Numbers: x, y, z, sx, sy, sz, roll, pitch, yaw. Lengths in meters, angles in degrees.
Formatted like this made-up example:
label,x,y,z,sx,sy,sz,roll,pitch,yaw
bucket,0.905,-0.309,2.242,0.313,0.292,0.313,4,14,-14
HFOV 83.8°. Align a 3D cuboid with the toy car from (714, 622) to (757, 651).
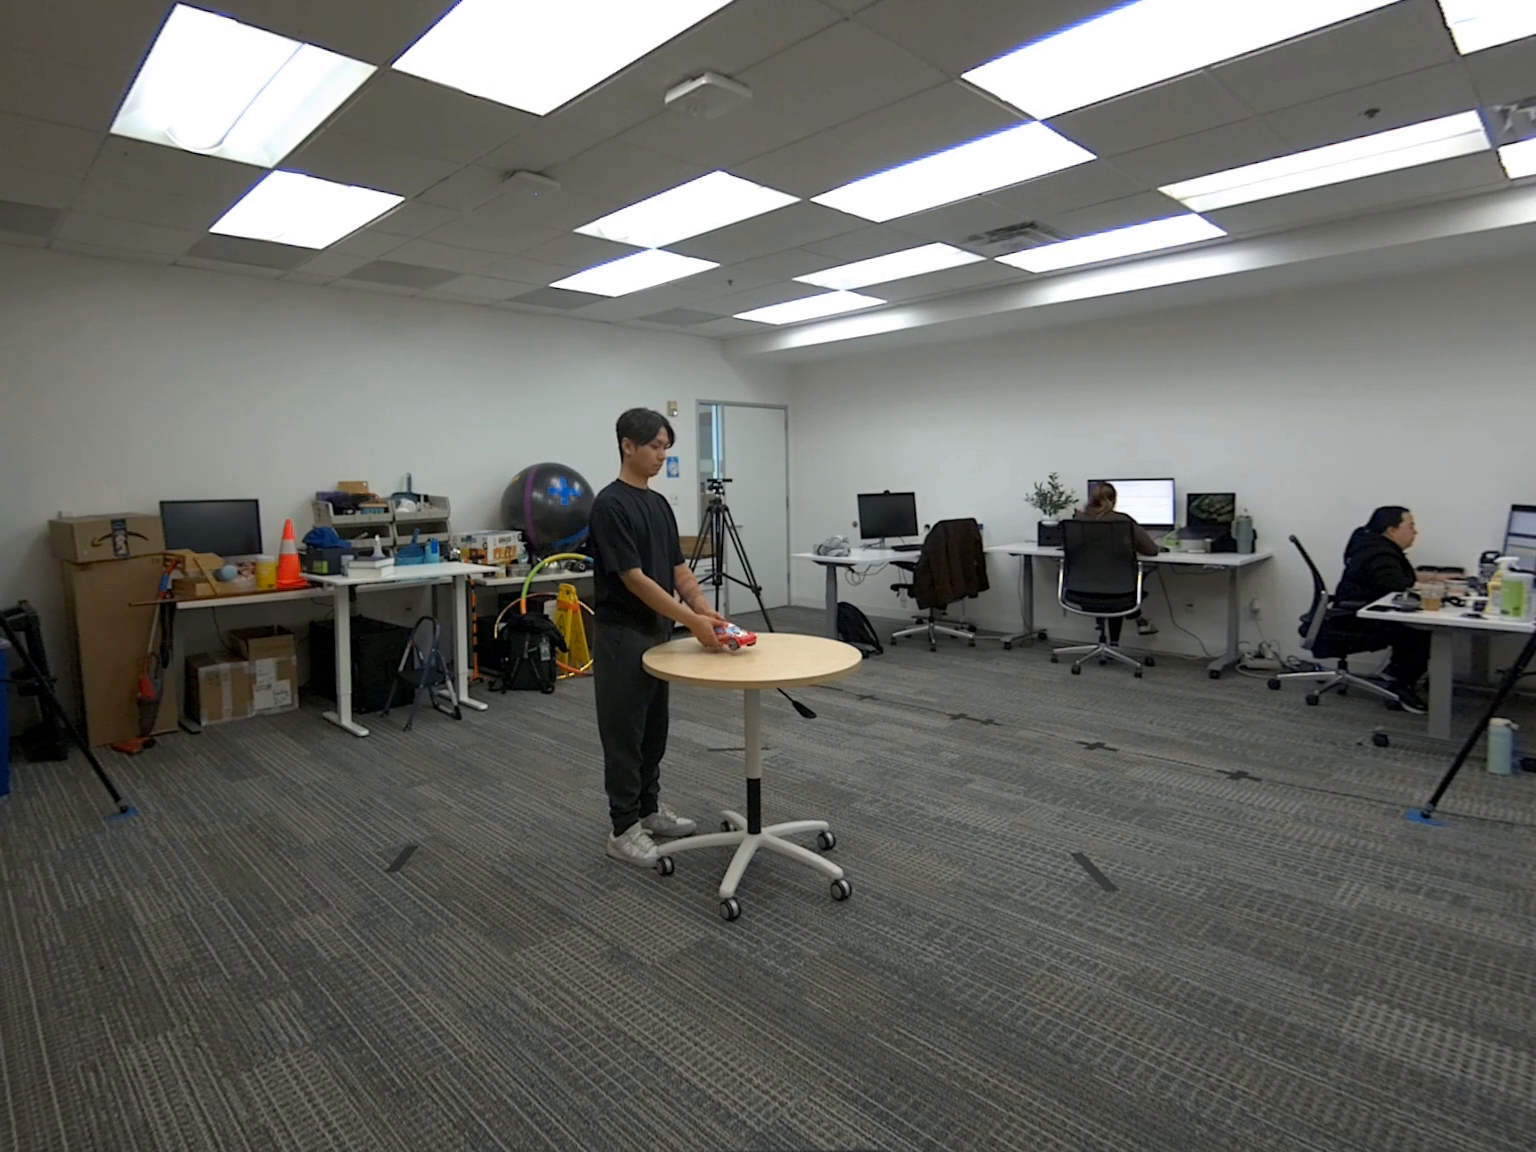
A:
label,x,y,z,sx,sy,sz,roll,pitch,yaw
toy car,-0.163,0.211,3.066,0.264,0.082,0.127,22,18,38
